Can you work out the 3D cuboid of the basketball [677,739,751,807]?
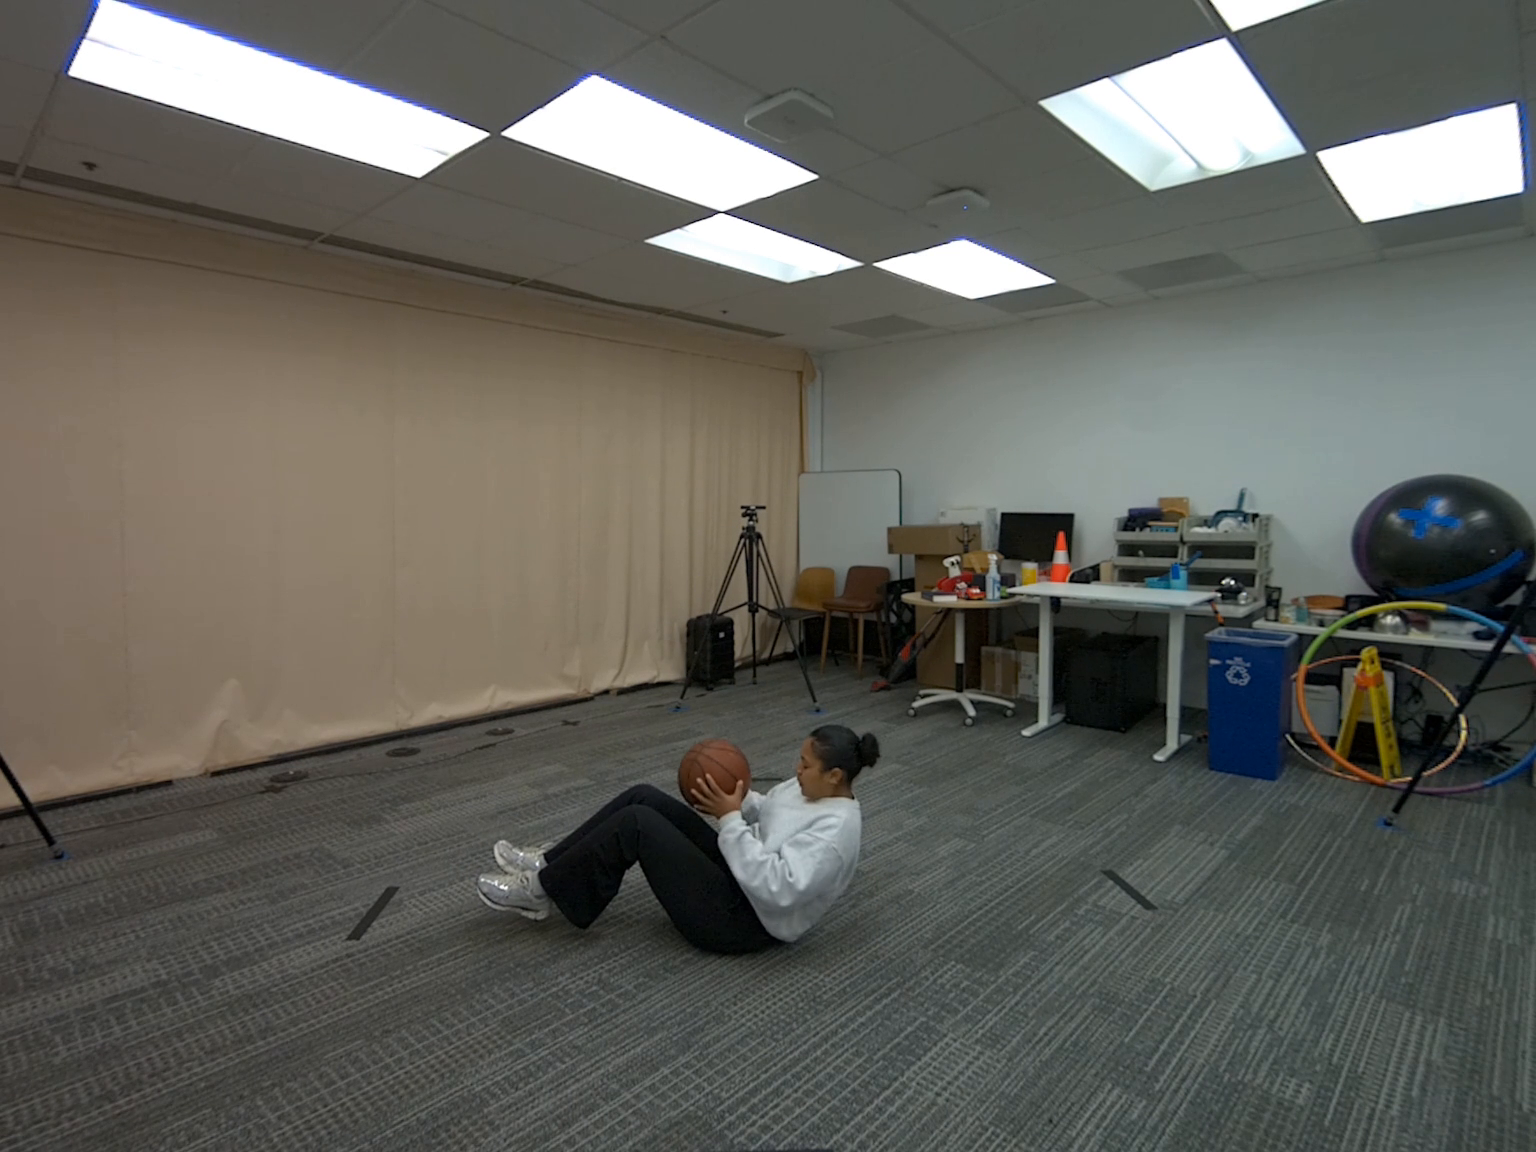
[{"bbox_3d":[-0.157,0.668,2.726,0.236,0.235,0.237,0,4,-2],"label":"basketball"}]
